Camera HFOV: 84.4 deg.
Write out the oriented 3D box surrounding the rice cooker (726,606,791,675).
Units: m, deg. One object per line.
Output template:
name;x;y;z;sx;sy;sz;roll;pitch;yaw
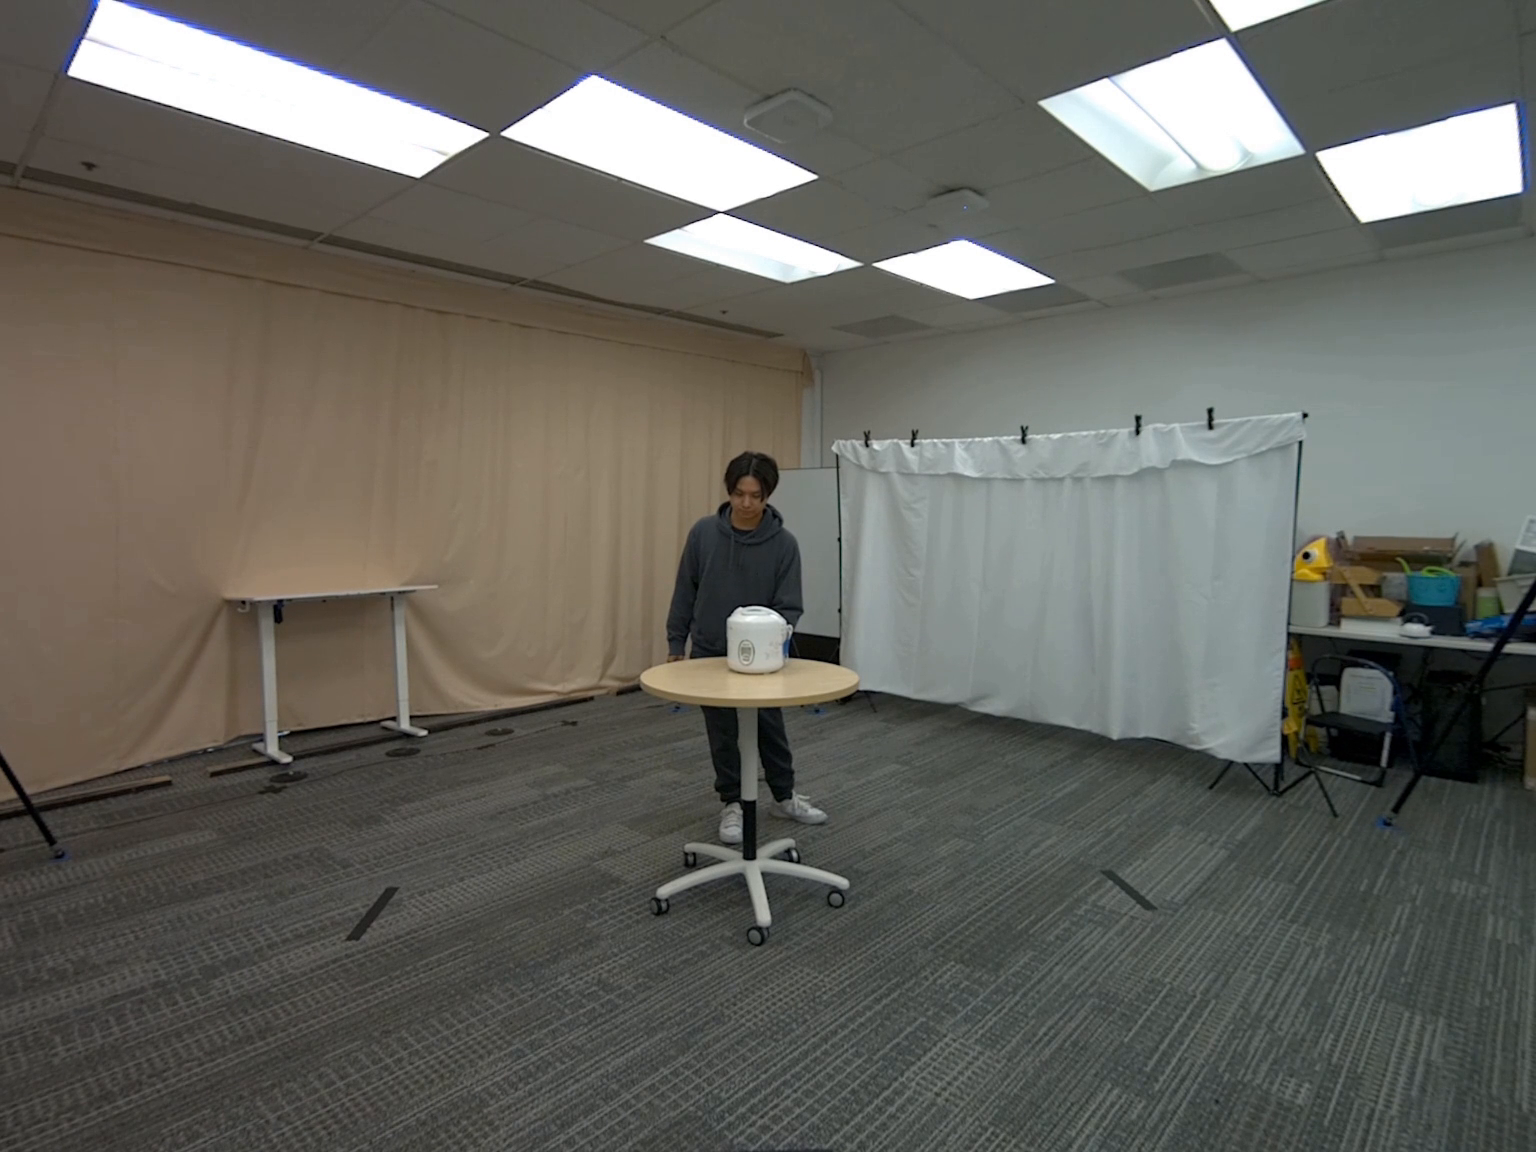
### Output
rice cooker;-0.043;0.224;3.053;0.225;0.232;0.213;1;3;21
